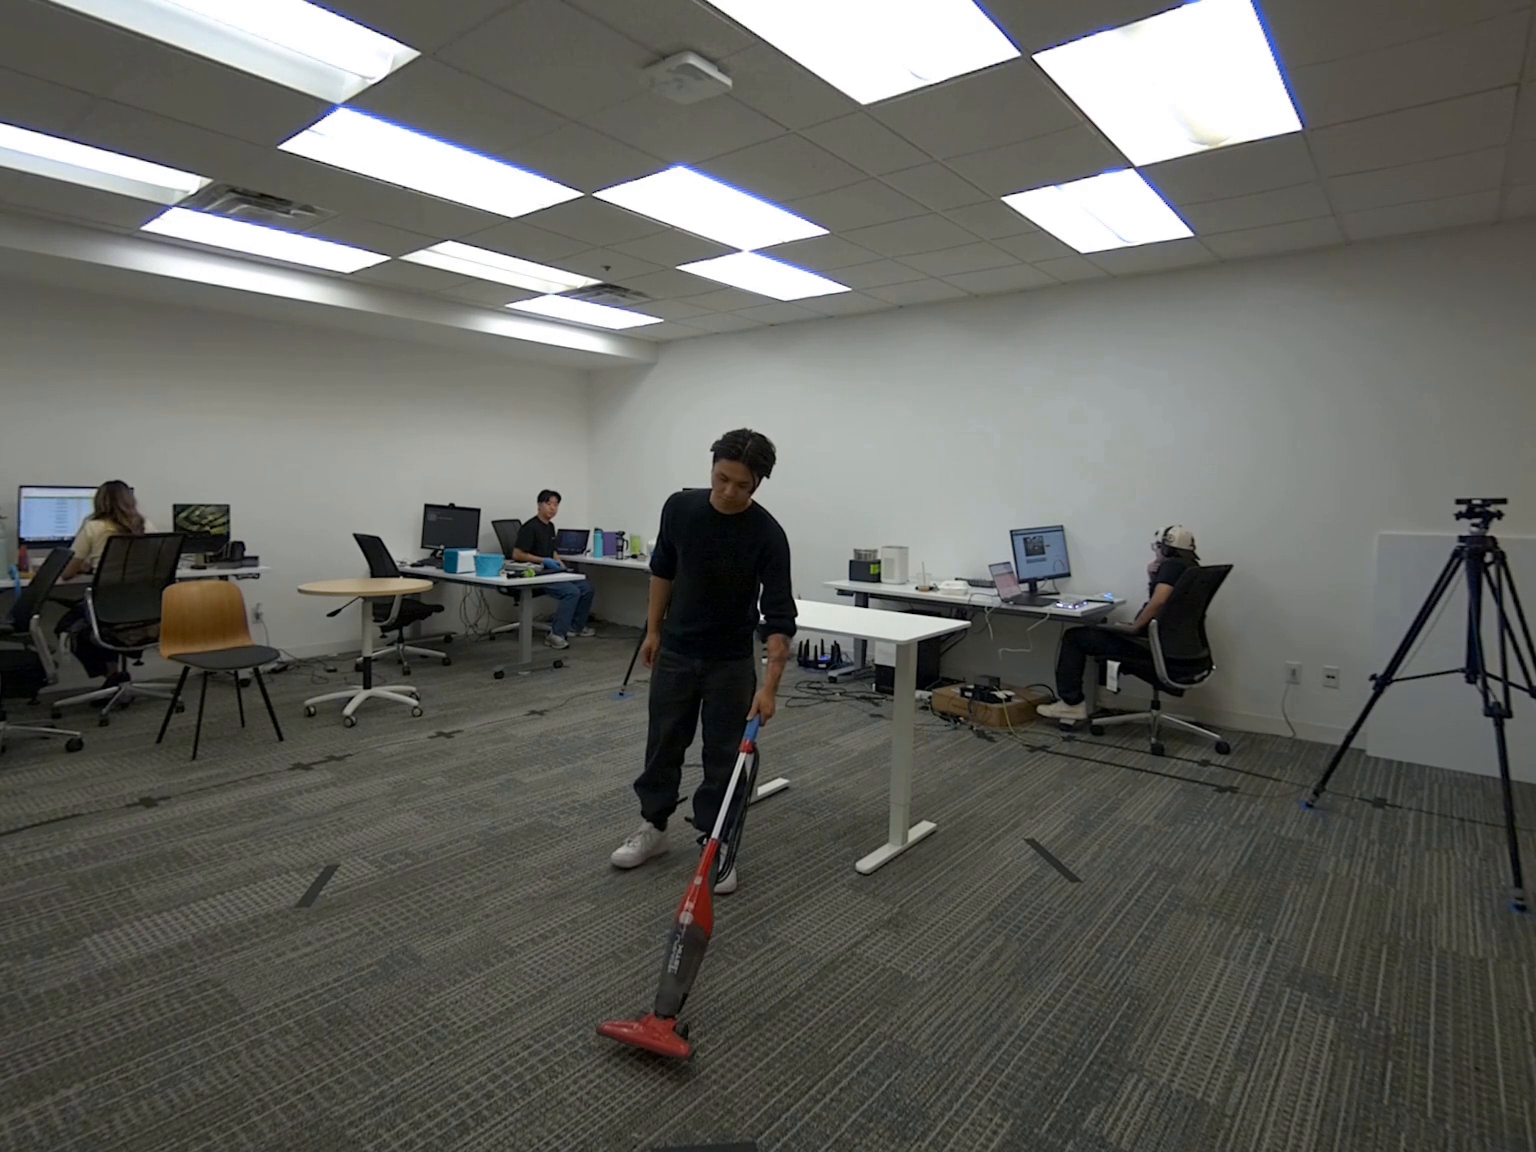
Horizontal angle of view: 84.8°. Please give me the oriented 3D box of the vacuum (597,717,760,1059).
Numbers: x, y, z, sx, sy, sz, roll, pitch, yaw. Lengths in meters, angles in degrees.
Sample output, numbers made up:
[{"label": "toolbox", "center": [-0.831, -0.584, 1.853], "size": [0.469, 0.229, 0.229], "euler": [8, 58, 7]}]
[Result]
[{"label": "vacuum", "center": [-0.150, 0.785, 2.462], "size": [0.258, 0.139, 1.064], "euler": [3, 43, 17]}]
